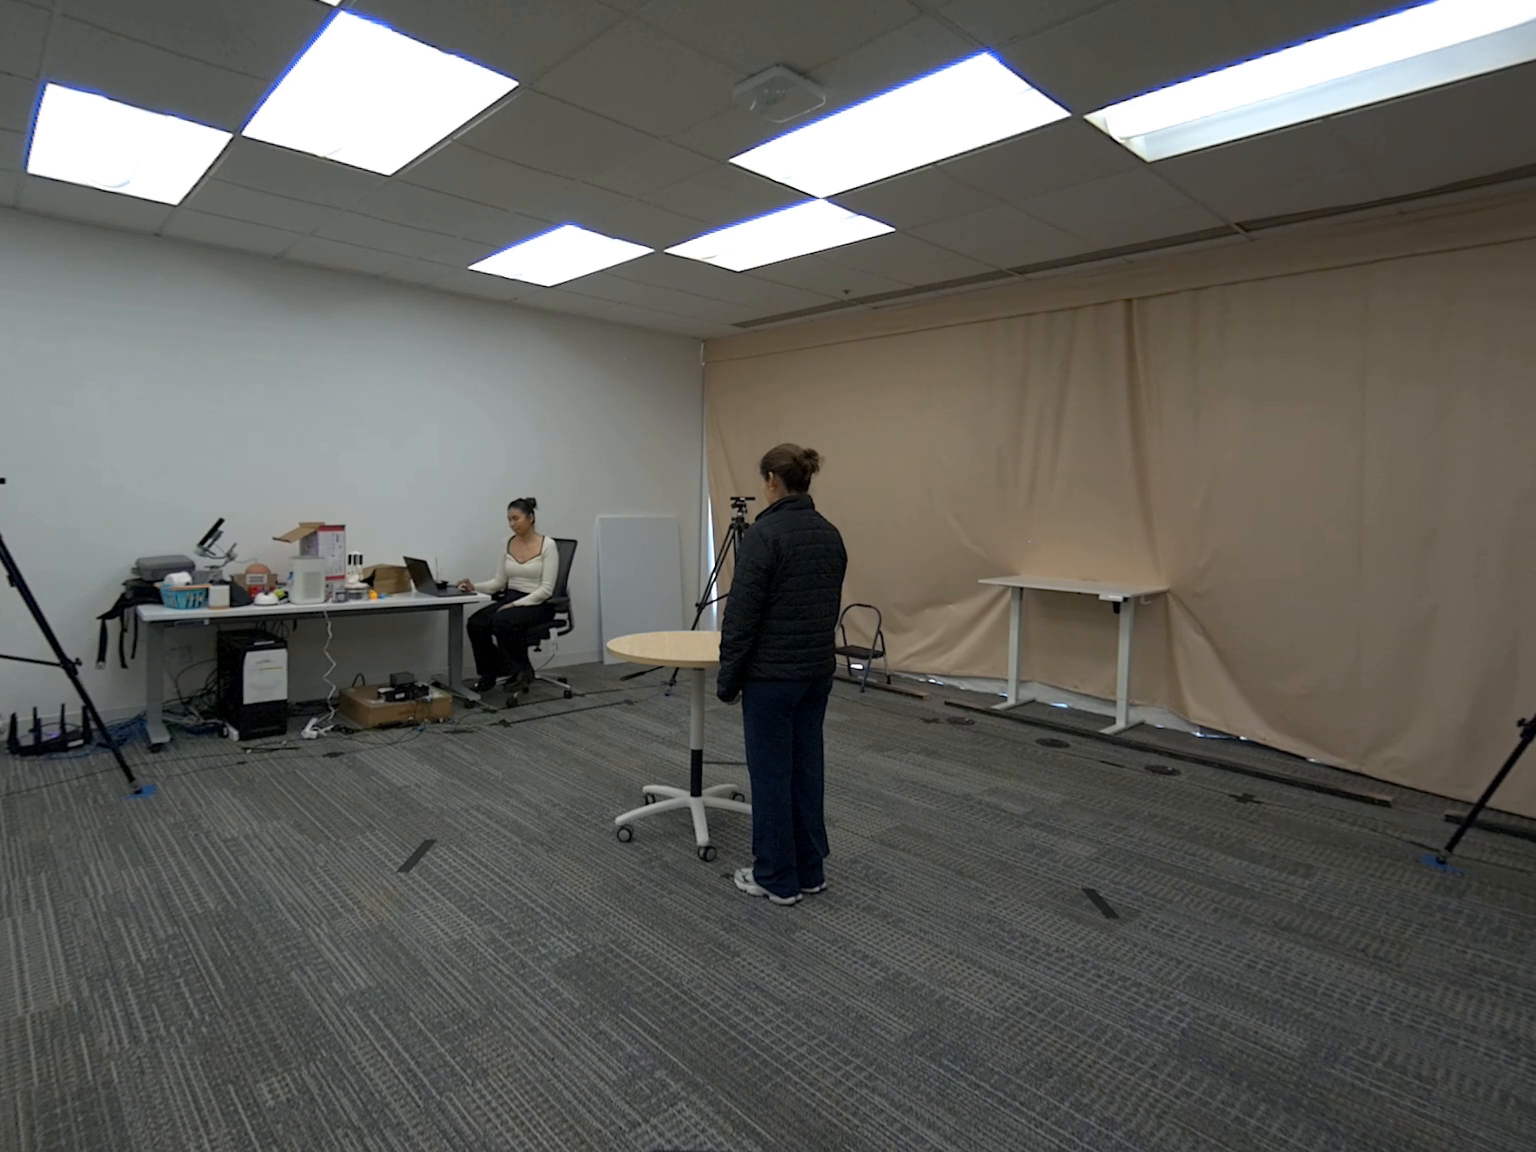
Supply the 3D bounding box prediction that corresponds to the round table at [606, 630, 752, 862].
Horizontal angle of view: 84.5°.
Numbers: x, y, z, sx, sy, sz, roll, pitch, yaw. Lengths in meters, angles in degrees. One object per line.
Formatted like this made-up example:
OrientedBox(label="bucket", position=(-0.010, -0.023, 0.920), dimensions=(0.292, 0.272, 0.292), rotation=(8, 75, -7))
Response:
OrientedBox(label="round table", position=(-0.304, 0.675, 3.508), dimensions=(0.784, 0.785, 0.787), rotation=(1, 3, -1))
